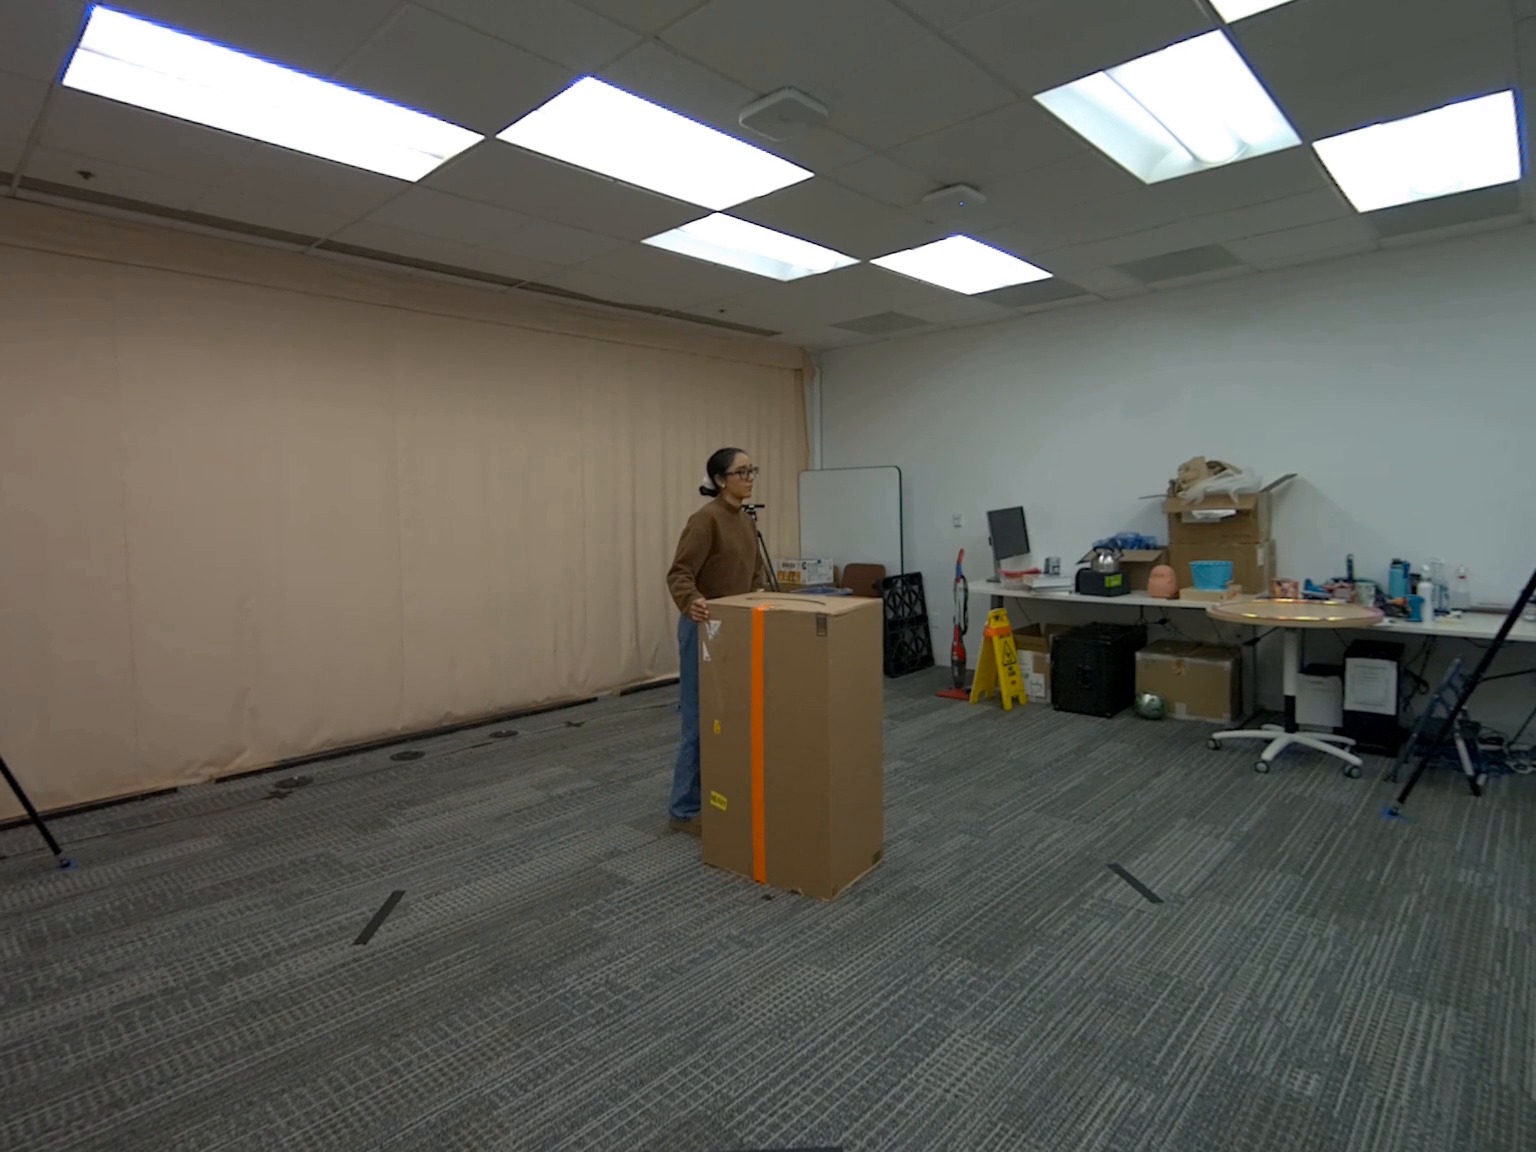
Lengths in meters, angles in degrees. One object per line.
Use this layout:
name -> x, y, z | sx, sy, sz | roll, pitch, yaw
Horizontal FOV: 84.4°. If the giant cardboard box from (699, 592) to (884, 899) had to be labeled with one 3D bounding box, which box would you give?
giant cardboard box -> 0.098, 0.606, 3.234 | 0.596, 1.023, 0.414 | 2, 5, 37
